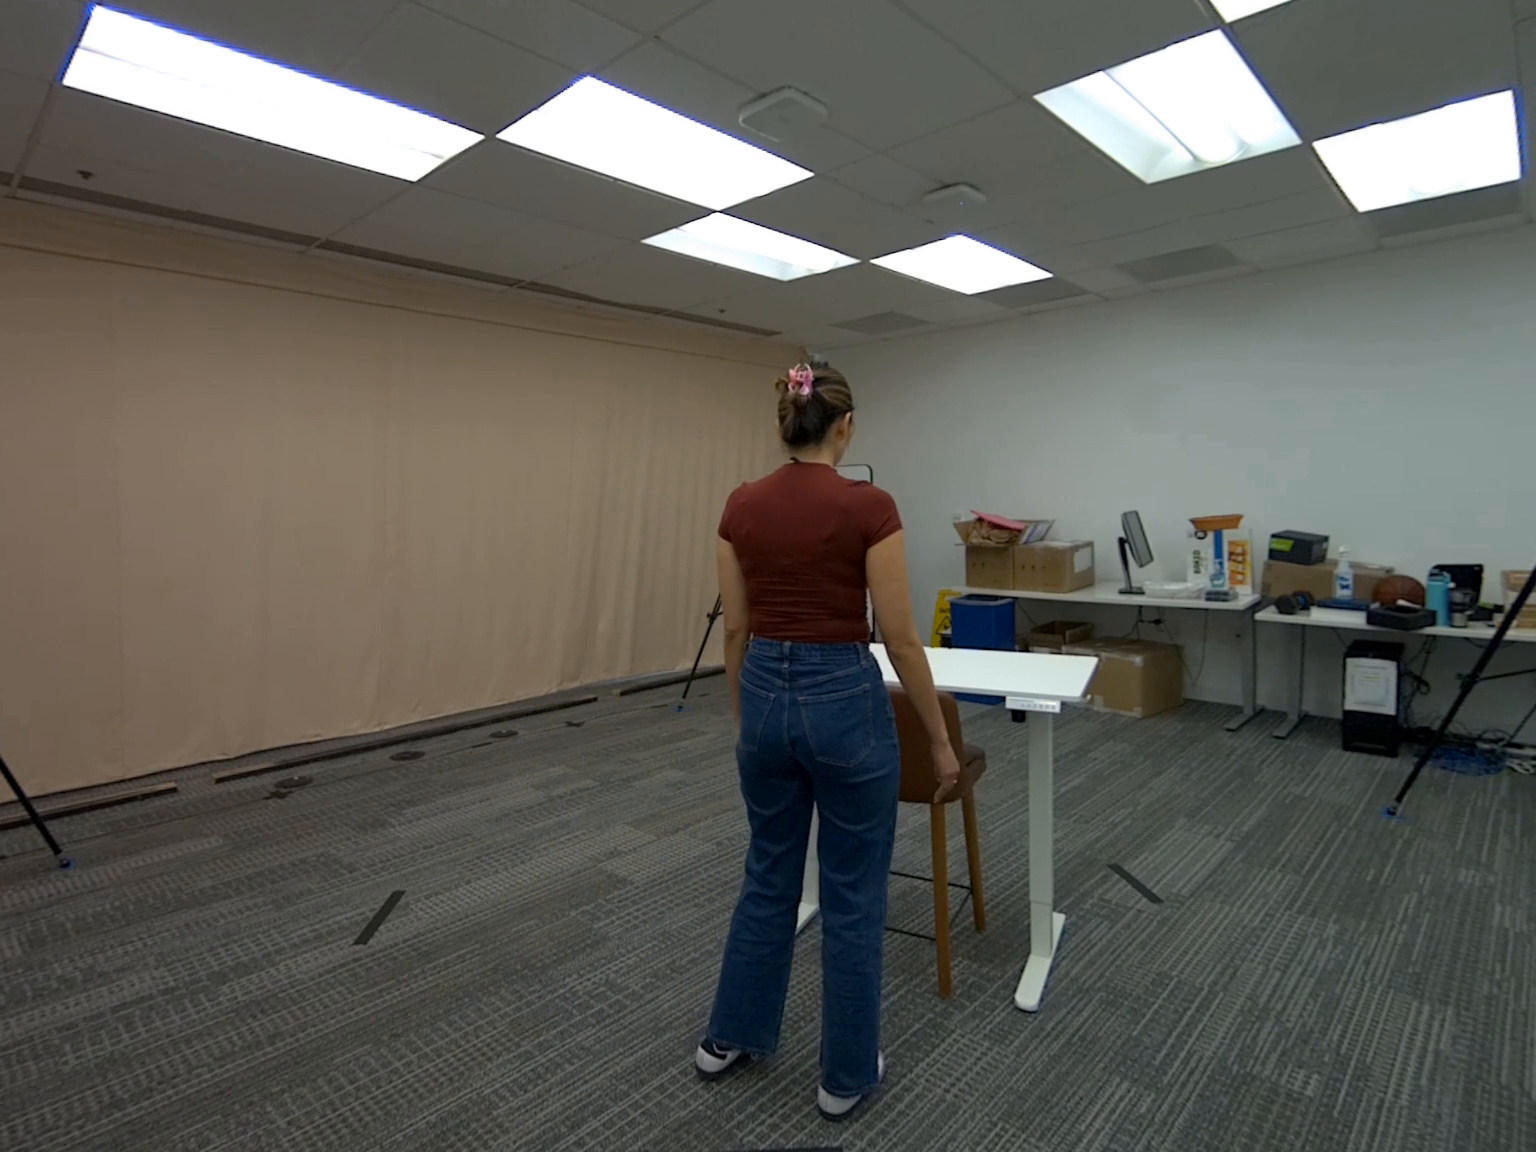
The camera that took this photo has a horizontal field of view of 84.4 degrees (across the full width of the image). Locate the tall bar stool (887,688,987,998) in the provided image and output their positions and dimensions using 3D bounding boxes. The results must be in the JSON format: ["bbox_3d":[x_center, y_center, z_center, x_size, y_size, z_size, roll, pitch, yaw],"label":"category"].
[{"bbox_3d":[0.425,0.733,2.606,0.469,0.886,0.457,1,6,26],"label":"tall bar stool"}]
